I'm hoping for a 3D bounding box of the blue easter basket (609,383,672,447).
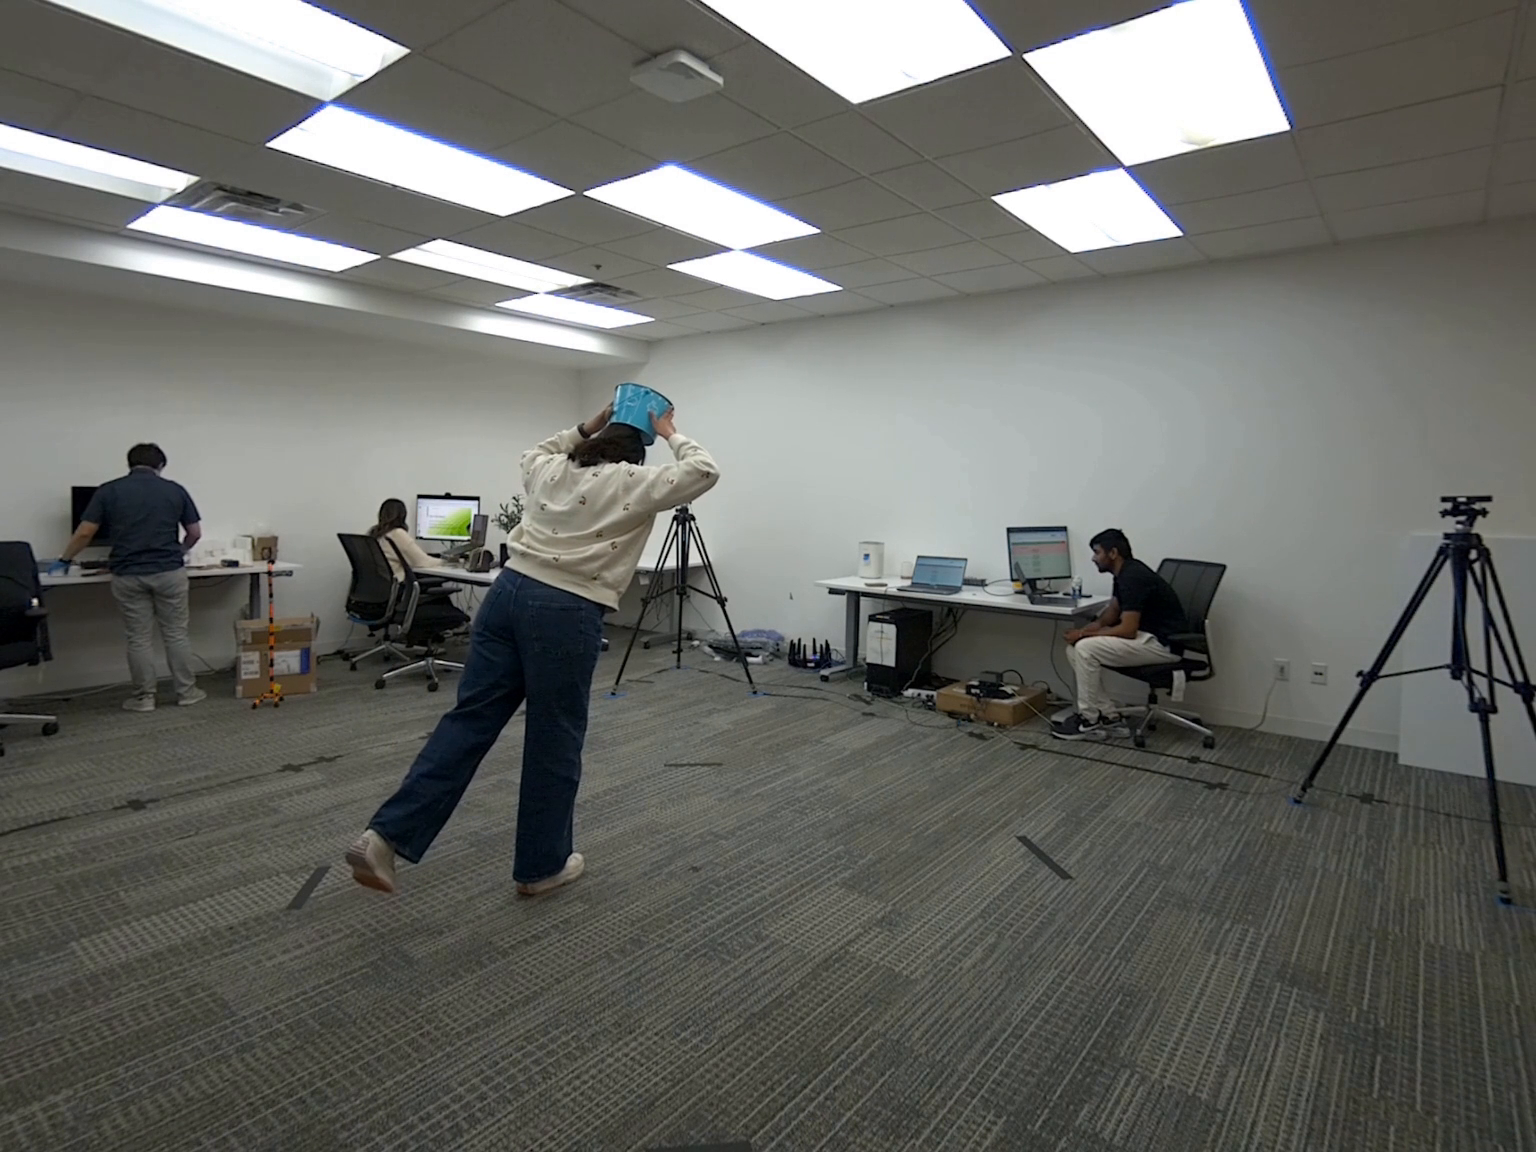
[{"bbox_3d":[-0.502,-0.604,3.183,0.245,0.157,0.240,19,-15,4],"label":"blue easter basket"}]
